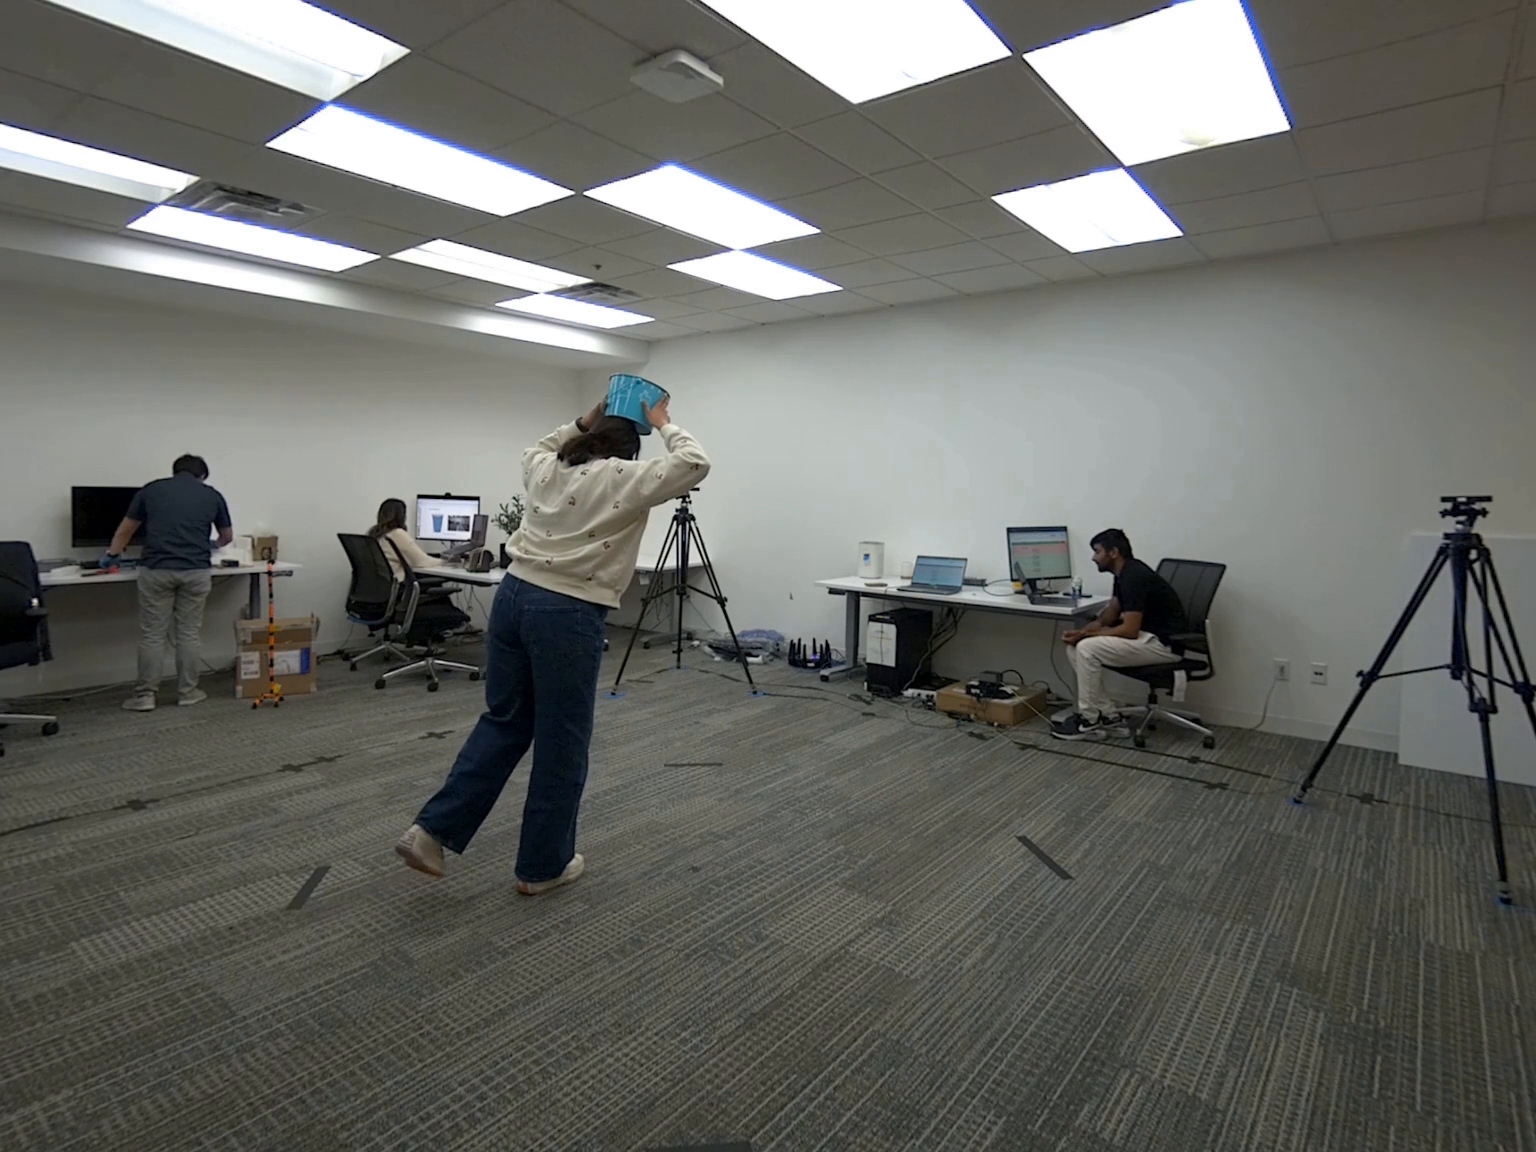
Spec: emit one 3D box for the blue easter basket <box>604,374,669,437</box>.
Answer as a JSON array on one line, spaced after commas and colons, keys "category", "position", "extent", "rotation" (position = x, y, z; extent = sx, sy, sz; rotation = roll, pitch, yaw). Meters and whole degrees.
[{"category": "blue easter basket", "position": [-0.509, -0.627, 3.134], "extent": [0.244, 0.157, 0.241], "rotation": [17, -10, 1]}]
